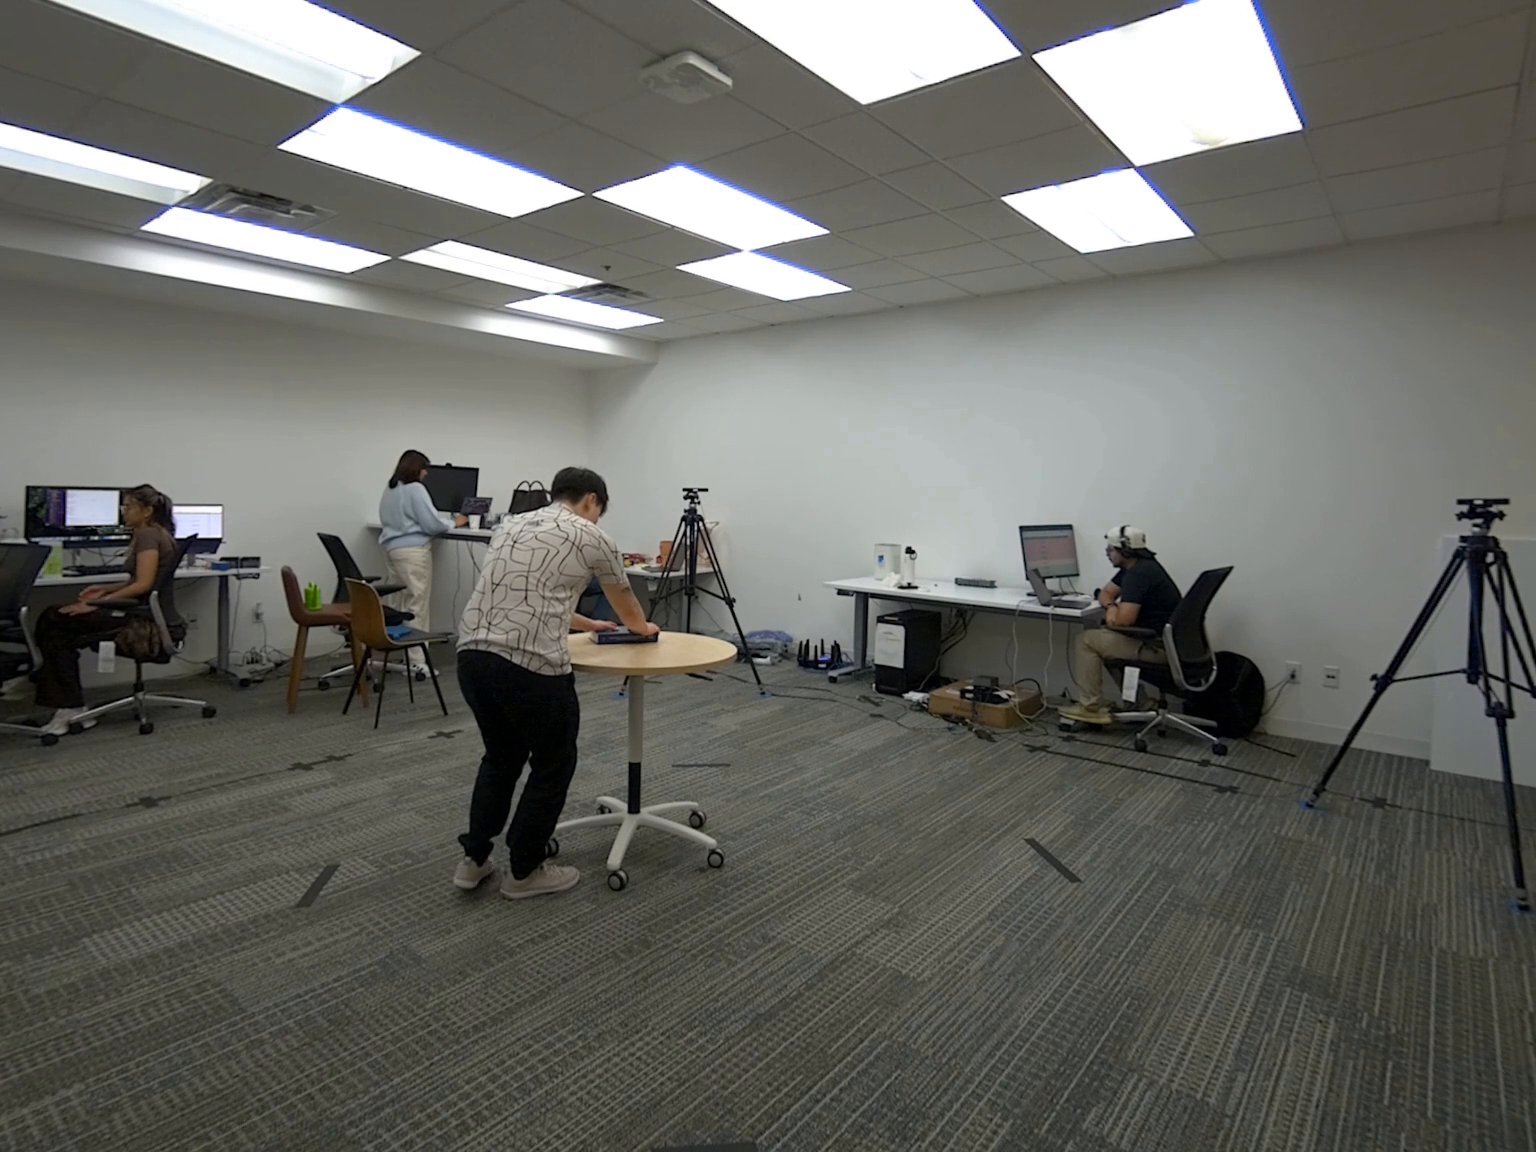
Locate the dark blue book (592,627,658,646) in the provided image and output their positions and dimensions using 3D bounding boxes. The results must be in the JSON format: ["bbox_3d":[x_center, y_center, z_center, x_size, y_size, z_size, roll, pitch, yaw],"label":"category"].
[{"bbox_3d":[-0.590,0.240,3.384,0.240,0.045,0.167,1,5,-21],"label":"dark blue book"}]
